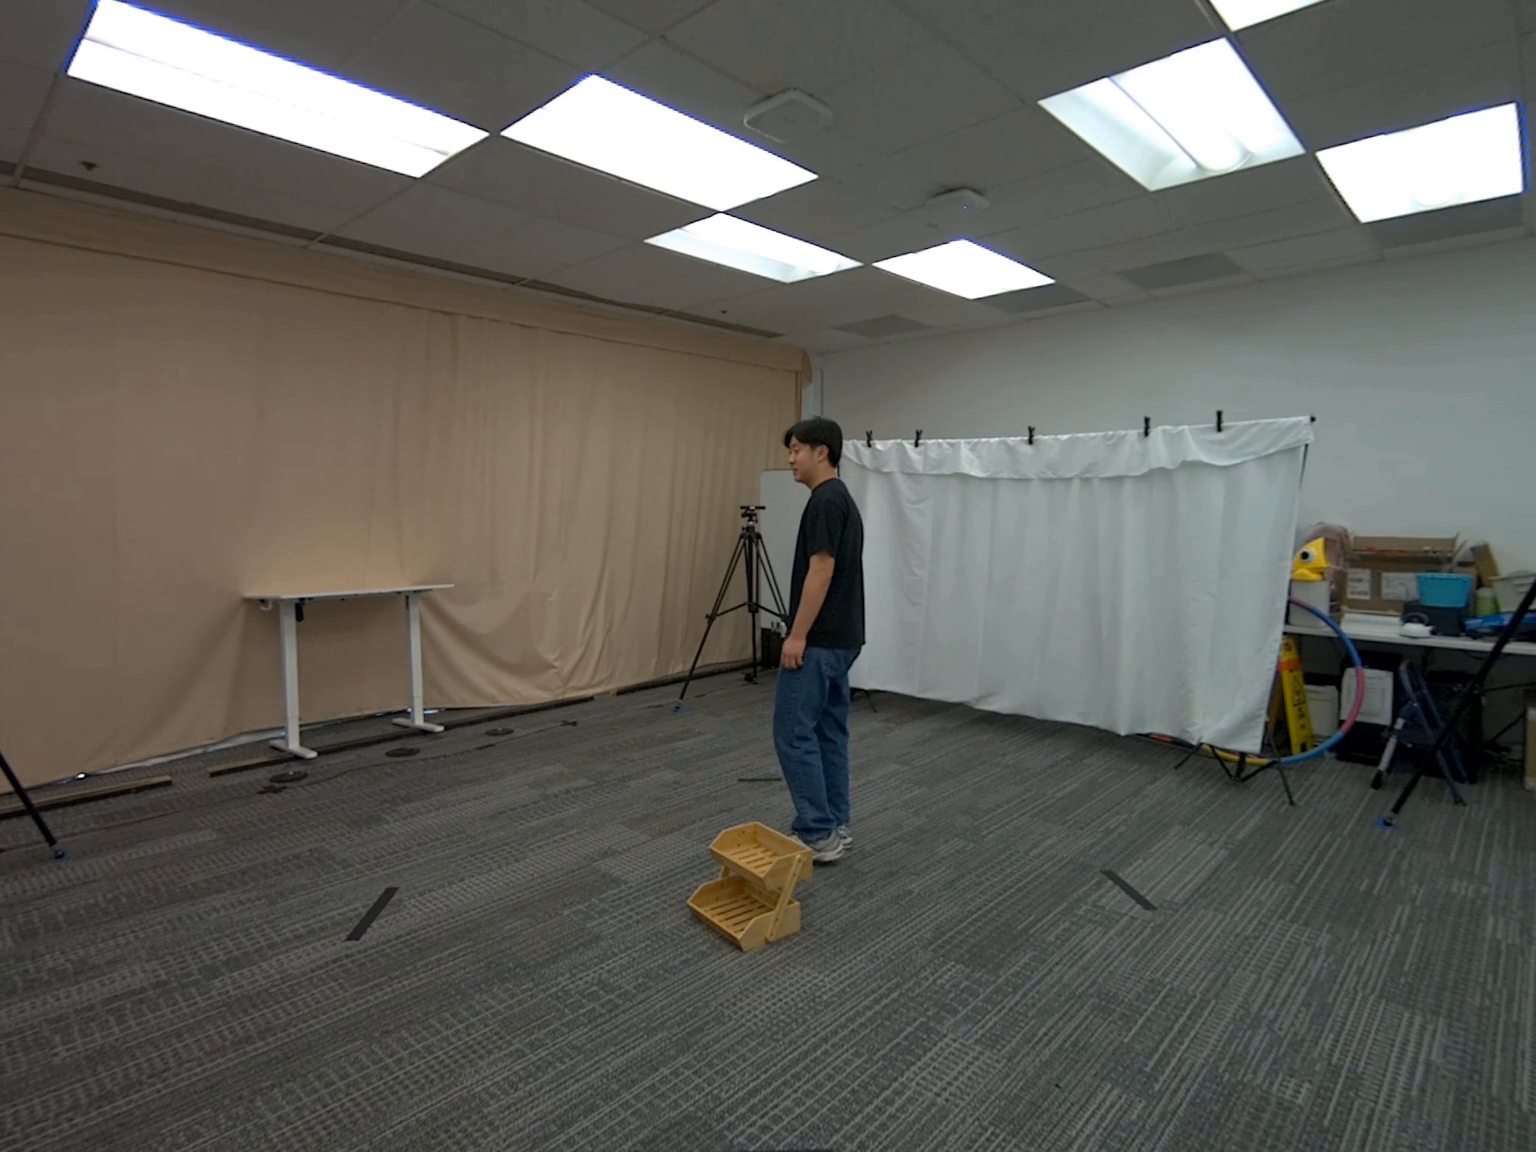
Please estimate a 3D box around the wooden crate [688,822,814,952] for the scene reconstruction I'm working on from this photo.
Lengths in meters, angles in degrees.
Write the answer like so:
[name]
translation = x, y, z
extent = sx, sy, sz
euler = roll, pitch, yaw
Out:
[wooden crate]
translation = -0.064, 1.024, 2.818
extent = 0.293, 0.273, 0.335
euler = -2, 5, -37
